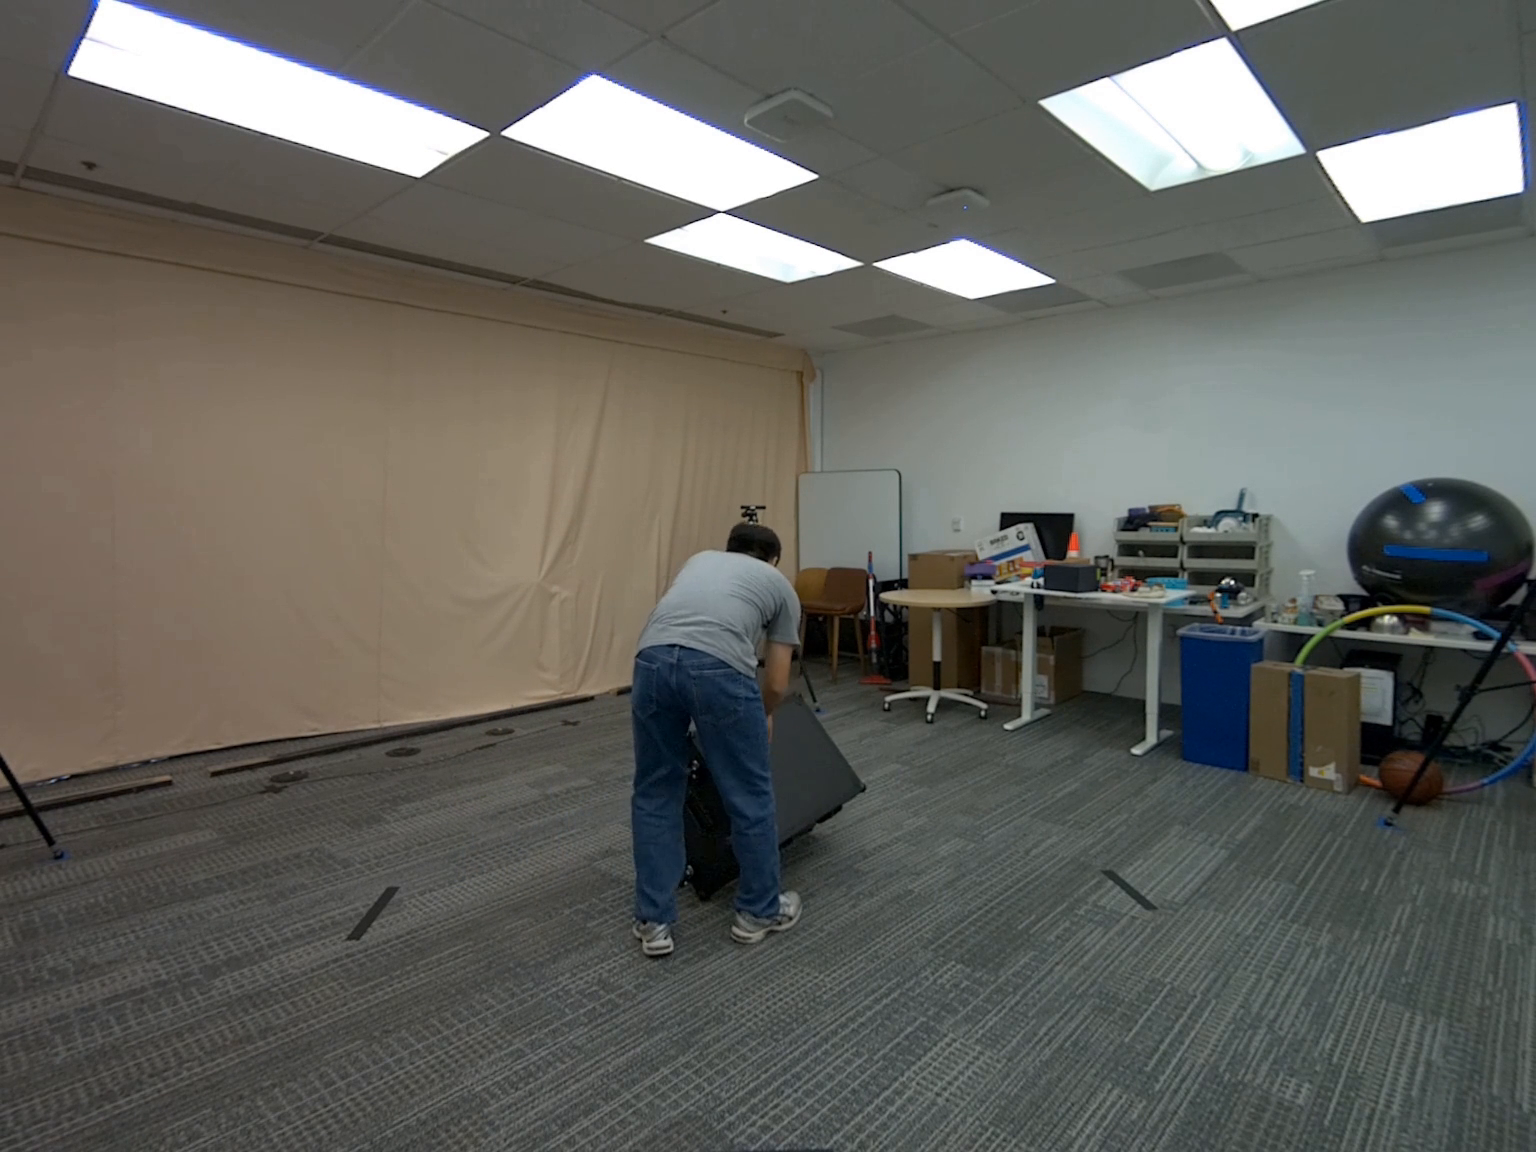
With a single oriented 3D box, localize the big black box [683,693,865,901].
[{"bbox_3d":[-0.076,0.825,3.257,0.399,0.532,0.837,-46,-20,27],"label":"big black box"}]
